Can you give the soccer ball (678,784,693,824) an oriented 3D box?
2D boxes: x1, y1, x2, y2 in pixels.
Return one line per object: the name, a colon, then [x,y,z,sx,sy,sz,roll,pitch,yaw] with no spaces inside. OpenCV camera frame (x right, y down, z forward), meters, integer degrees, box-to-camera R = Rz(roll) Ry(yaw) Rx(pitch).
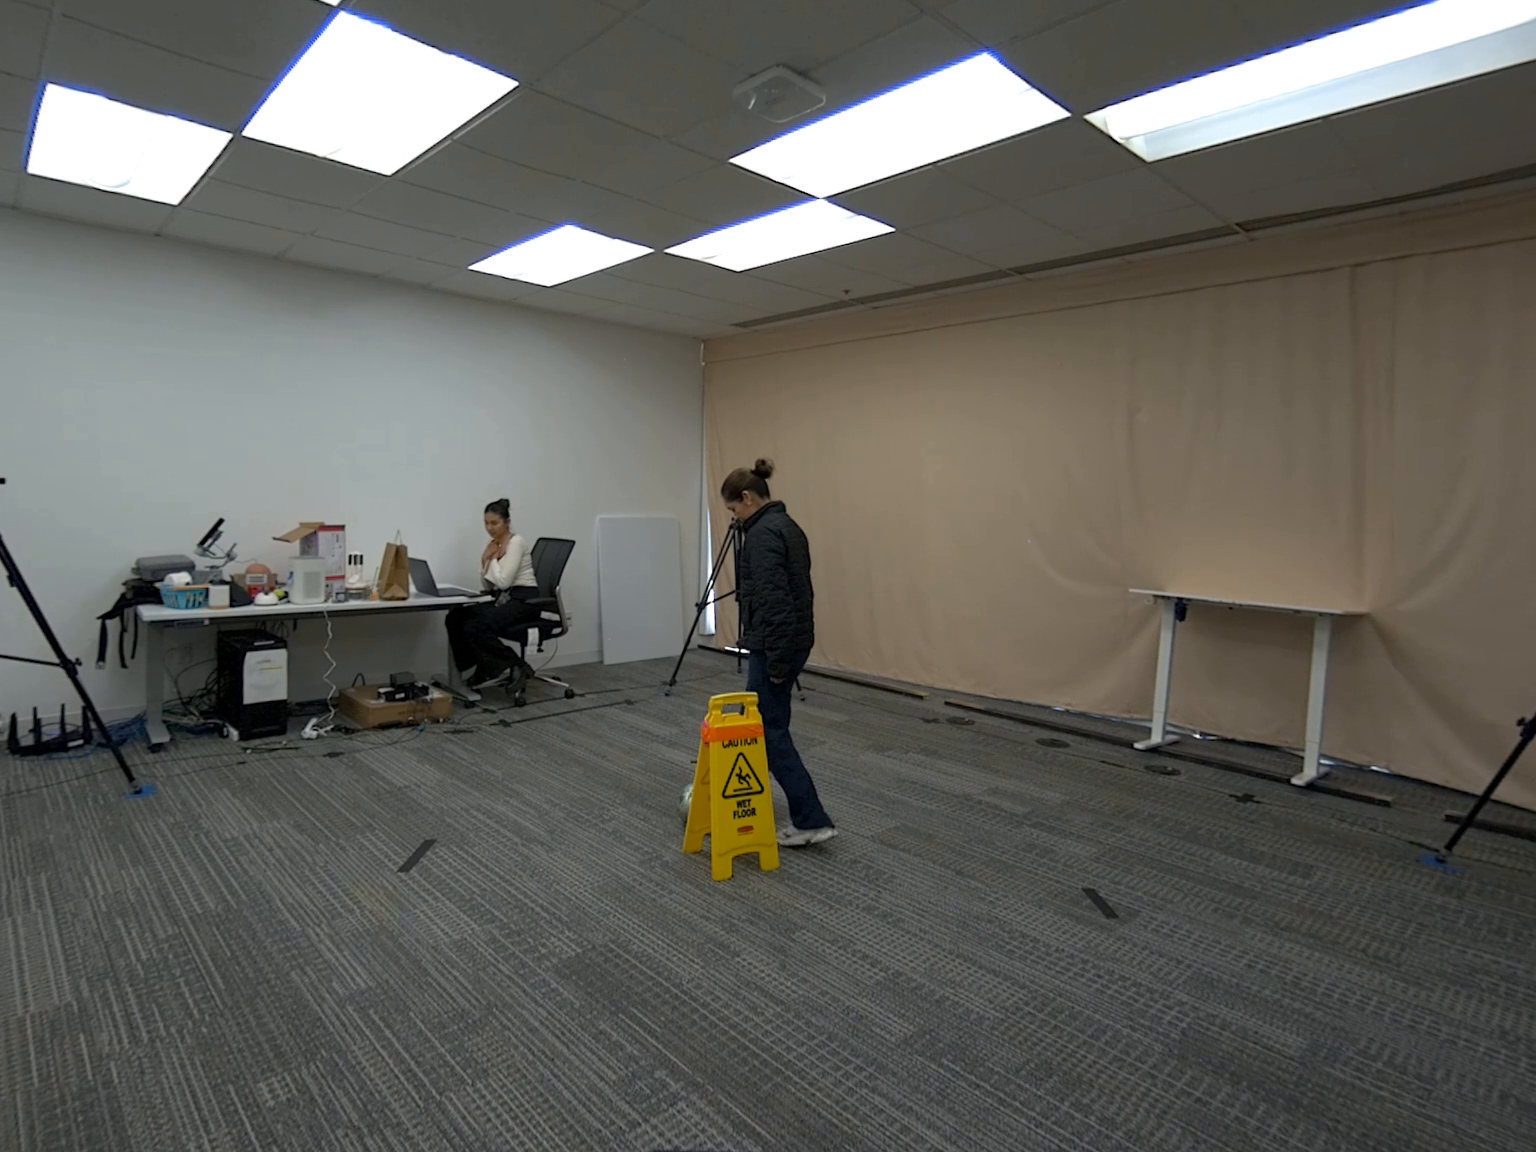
soccer ball: [-0.299,0.970,3.563,0.187,0.187,0.188,1,4,-1]
